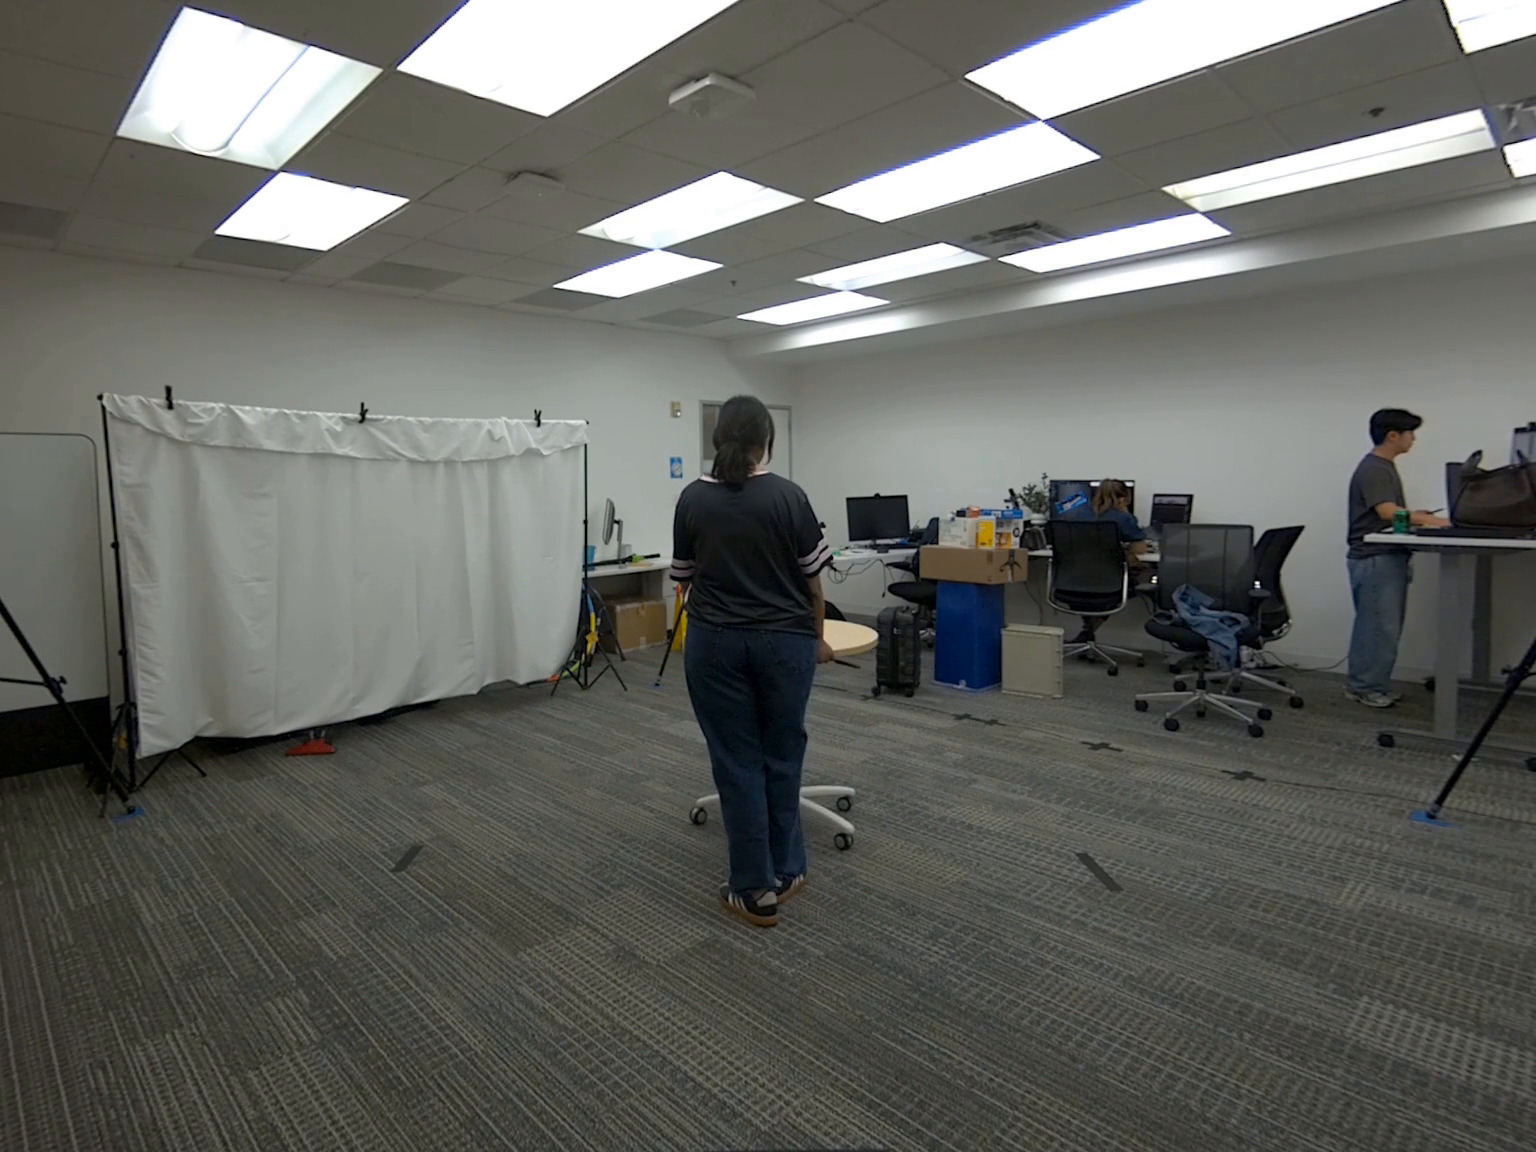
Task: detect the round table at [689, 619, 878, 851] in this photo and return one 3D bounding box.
[{"bbox_3d":[0.047,0.617,3.416,0.784,0.783,0.789,-1,5,-2],"label":"round table"}]
